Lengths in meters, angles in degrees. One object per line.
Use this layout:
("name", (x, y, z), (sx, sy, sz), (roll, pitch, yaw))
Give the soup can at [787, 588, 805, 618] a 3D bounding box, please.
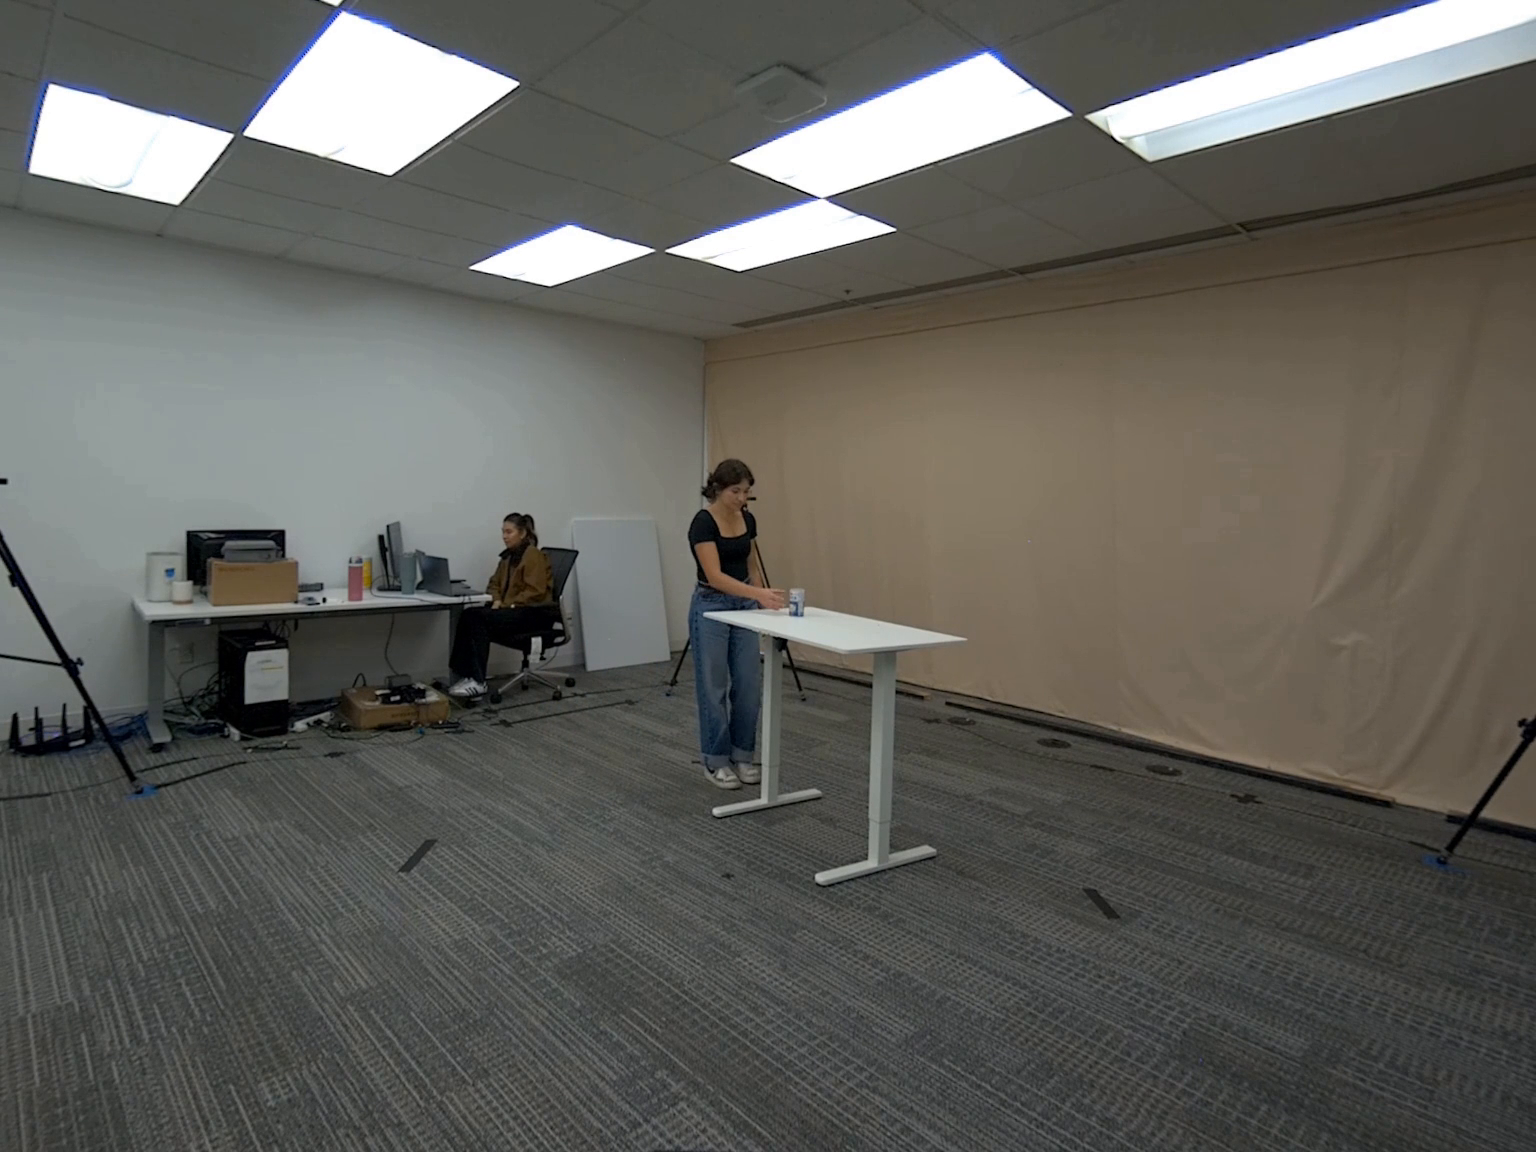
("soup can", (0.121, 0.119, 3.718), (0.067, 0.121, 0.067), (3, 5, -2))
